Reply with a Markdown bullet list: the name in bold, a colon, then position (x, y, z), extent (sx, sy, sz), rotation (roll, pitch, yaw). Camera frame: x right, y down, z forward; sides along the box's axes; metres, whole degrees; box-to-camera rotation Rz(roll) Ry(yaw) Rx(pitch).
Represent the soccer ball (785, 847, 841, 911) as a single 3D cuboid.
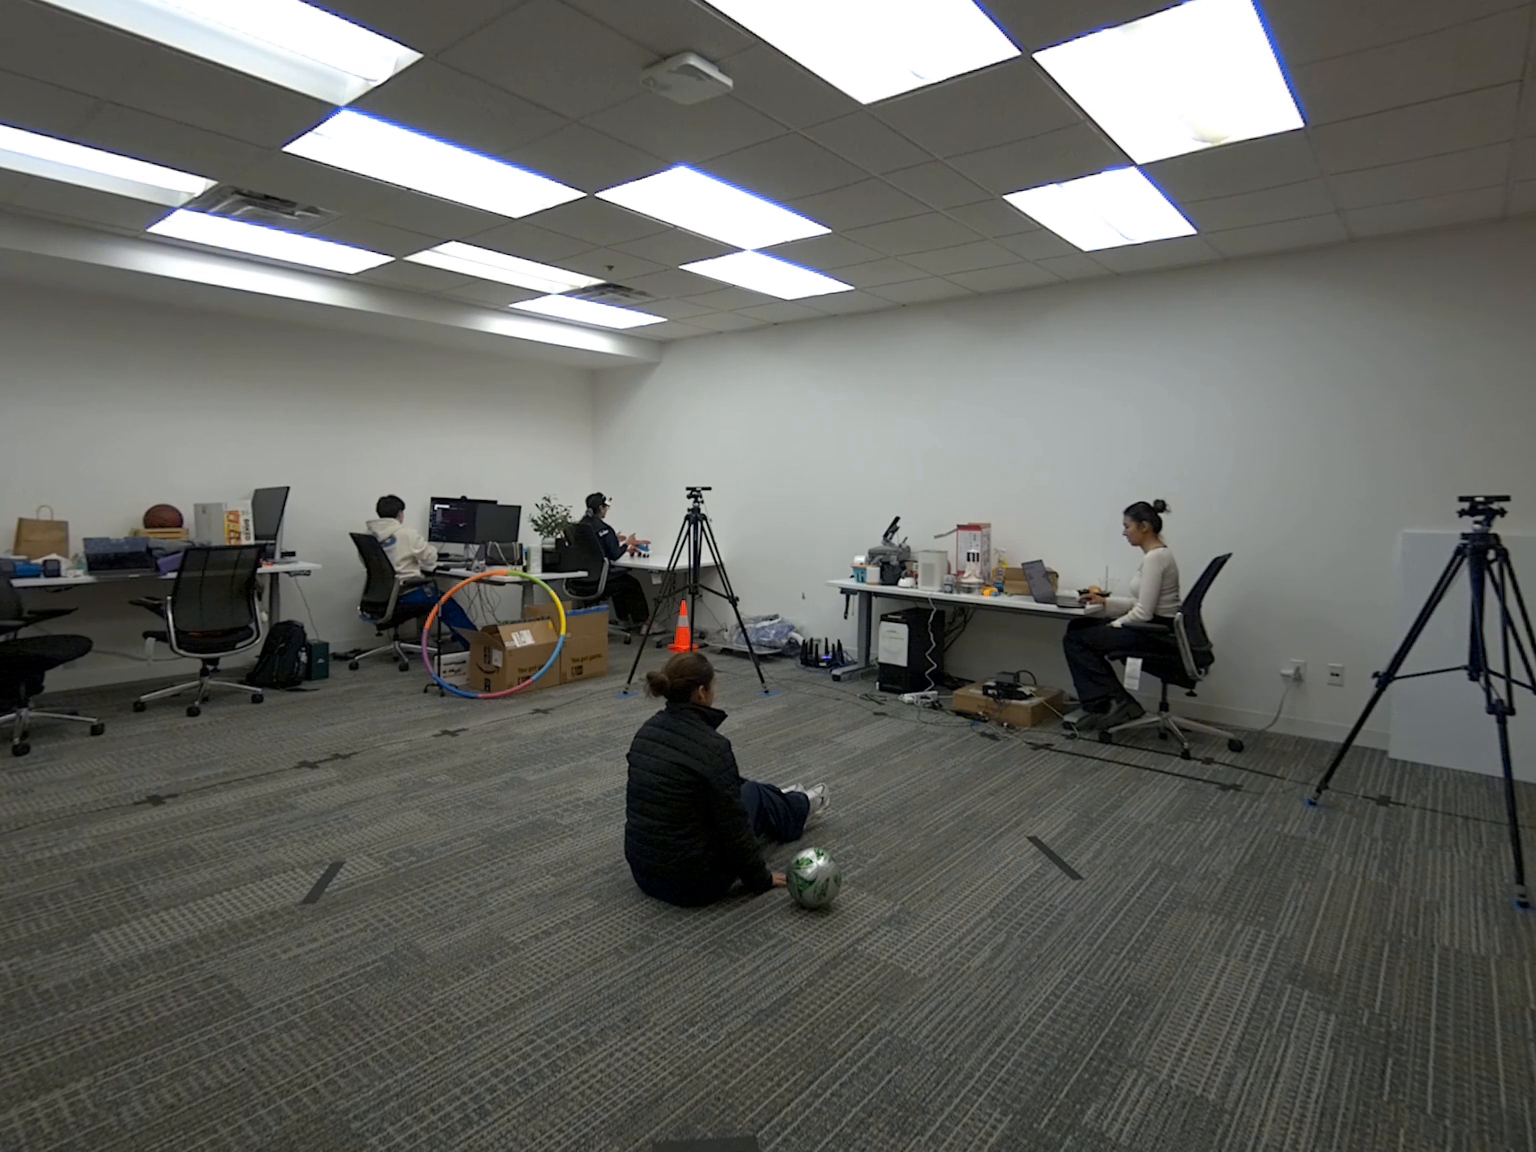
- **soccer ball**: position (0.145, 1.009, 2.843), extent (0.187, 0.187, 0.188), rotation (1, 4, -2)
